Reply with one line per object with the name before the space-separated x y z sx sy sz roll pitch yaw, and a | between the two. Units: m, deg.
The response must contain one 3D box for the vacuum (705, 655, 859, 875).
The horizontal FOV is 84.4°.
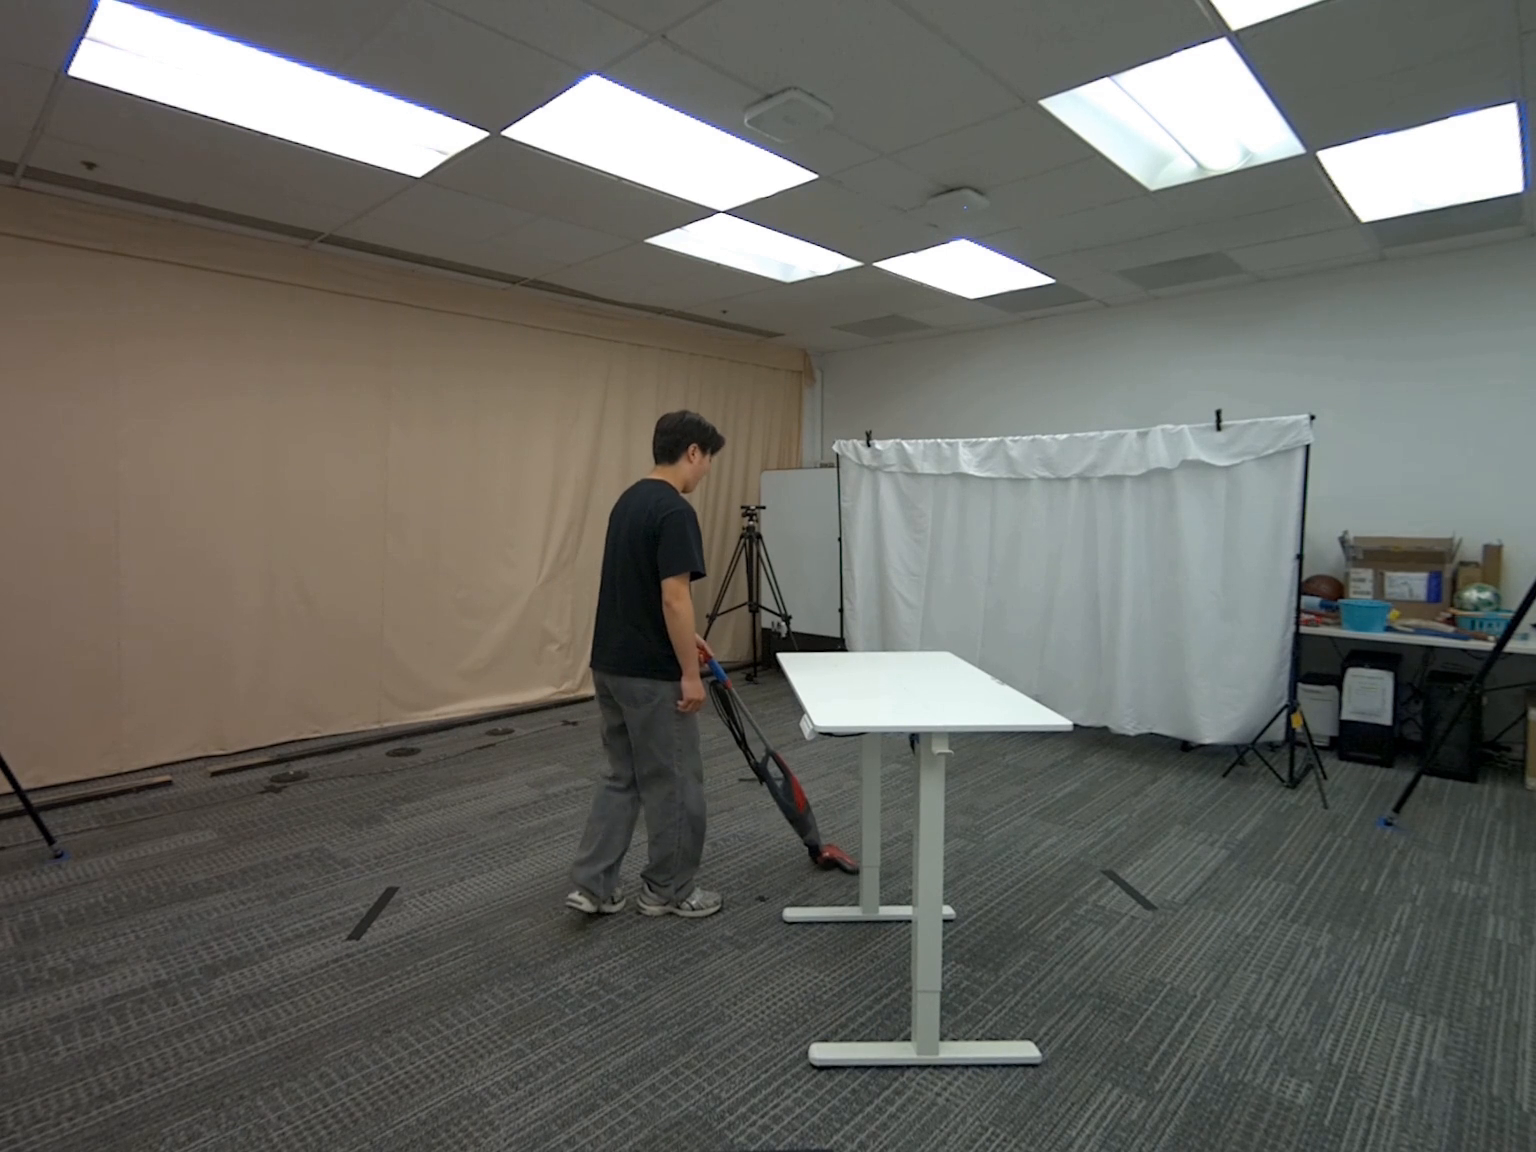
vacuum | -0.015 0.689 3.171 0.143 1.035 0.258 -38 13 -19
